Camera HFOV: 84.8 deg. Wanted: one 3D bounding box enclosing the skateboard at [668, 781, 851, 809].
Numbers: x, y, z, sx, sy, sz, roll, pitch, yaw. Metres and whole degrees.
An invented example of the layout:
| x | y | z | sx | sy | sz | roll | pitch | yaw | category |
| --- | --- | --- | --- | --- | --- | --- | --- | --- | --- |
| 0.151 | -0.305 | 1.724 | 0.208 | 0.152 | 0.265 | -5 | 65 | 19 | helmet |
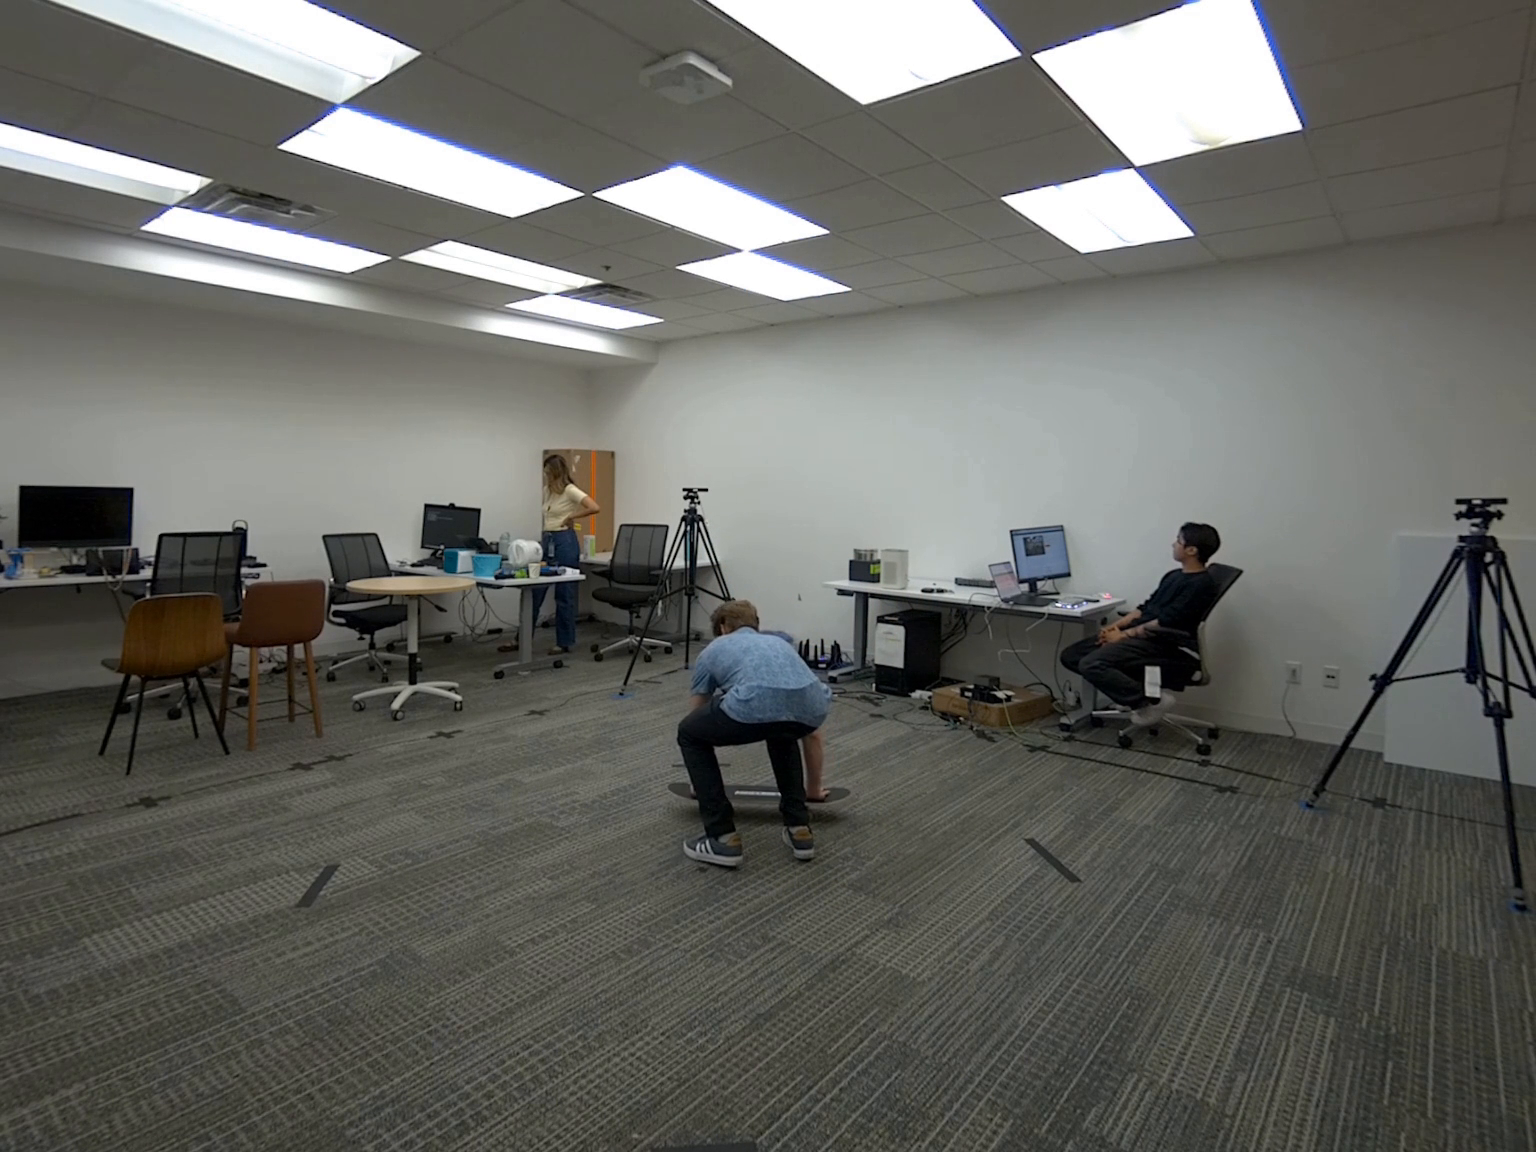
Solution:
| x | y | z | sx | sy | sz | roll | pitch | yaw | category |
| --- | --- | --- | --- | --- | --- | --- | --- | --- | --- |
| -0.050 | 0.959 | 3.648 | 0.787 | 0.110 | 0.194 | 2 | 4 | 1 | skateboard |
